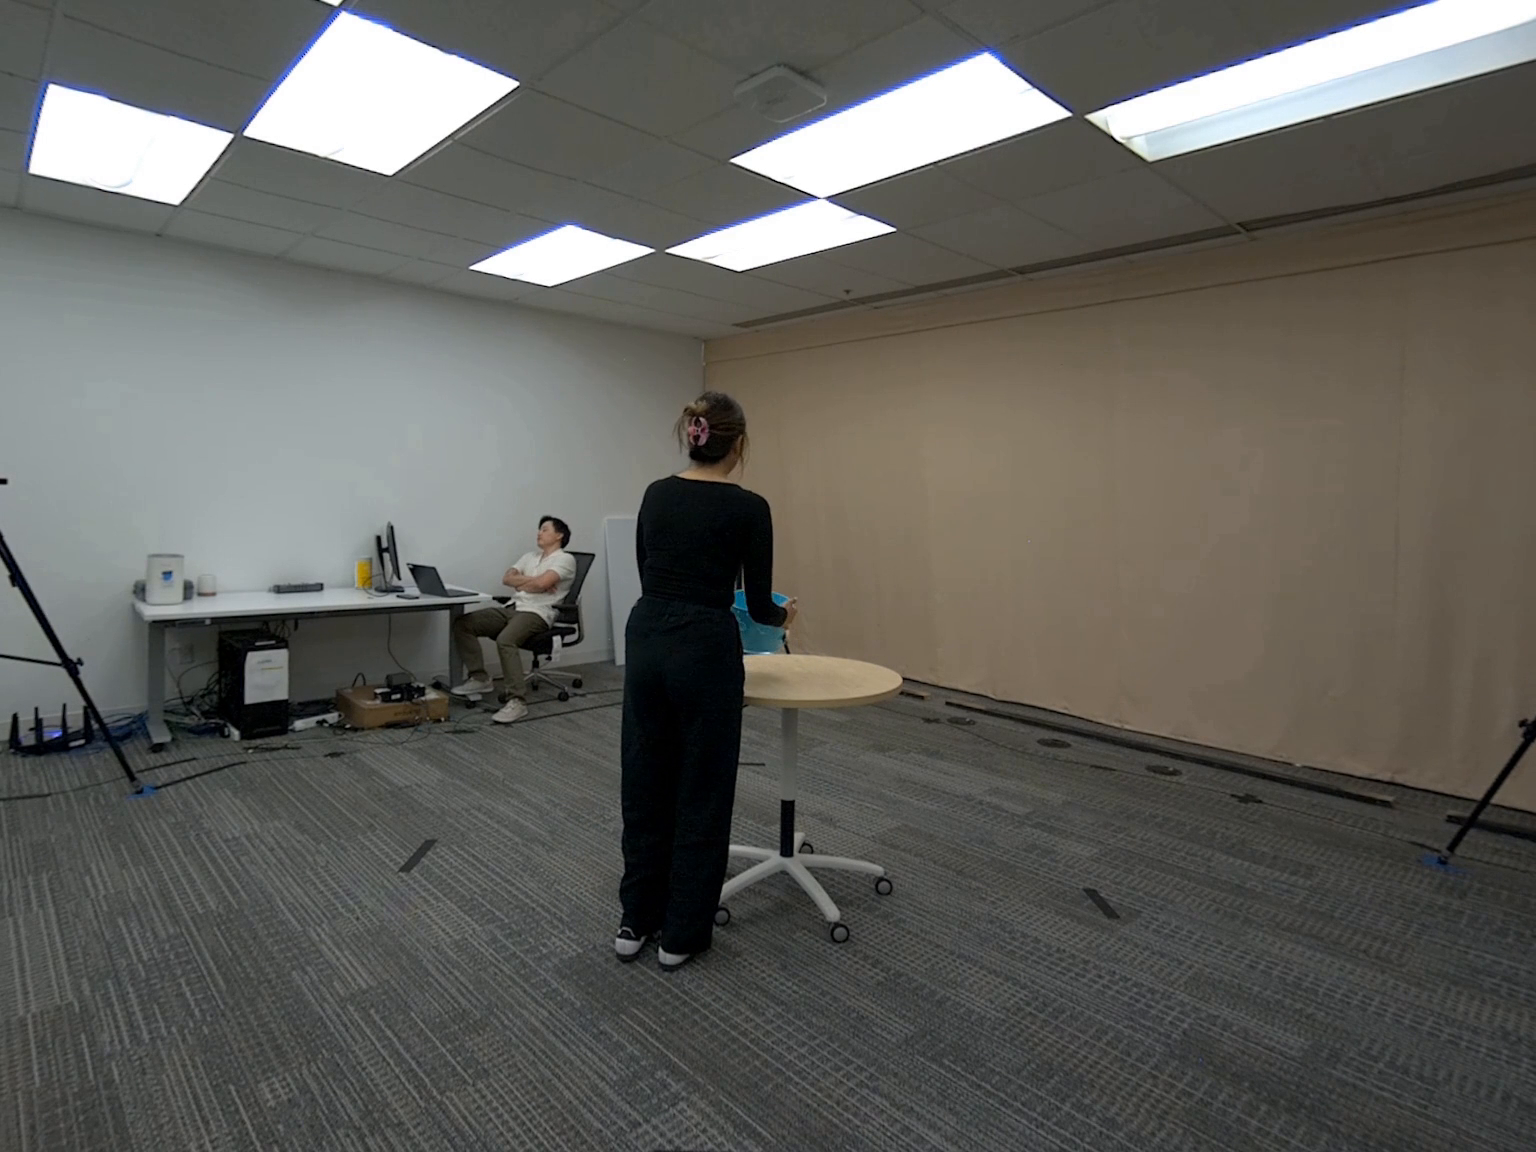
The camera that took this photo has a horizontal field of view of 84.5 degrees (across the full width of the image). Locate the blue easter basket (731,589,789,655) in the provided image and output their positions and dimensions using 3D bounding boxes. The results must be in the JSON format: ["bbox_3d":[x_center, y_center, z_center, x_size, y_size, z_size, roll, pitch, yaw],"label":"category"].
[{"bbox_3d":[-0.035,0.167,2.879,0.243,0.154,0.246,4,16,-3],"label":"blue easter basket"}]
